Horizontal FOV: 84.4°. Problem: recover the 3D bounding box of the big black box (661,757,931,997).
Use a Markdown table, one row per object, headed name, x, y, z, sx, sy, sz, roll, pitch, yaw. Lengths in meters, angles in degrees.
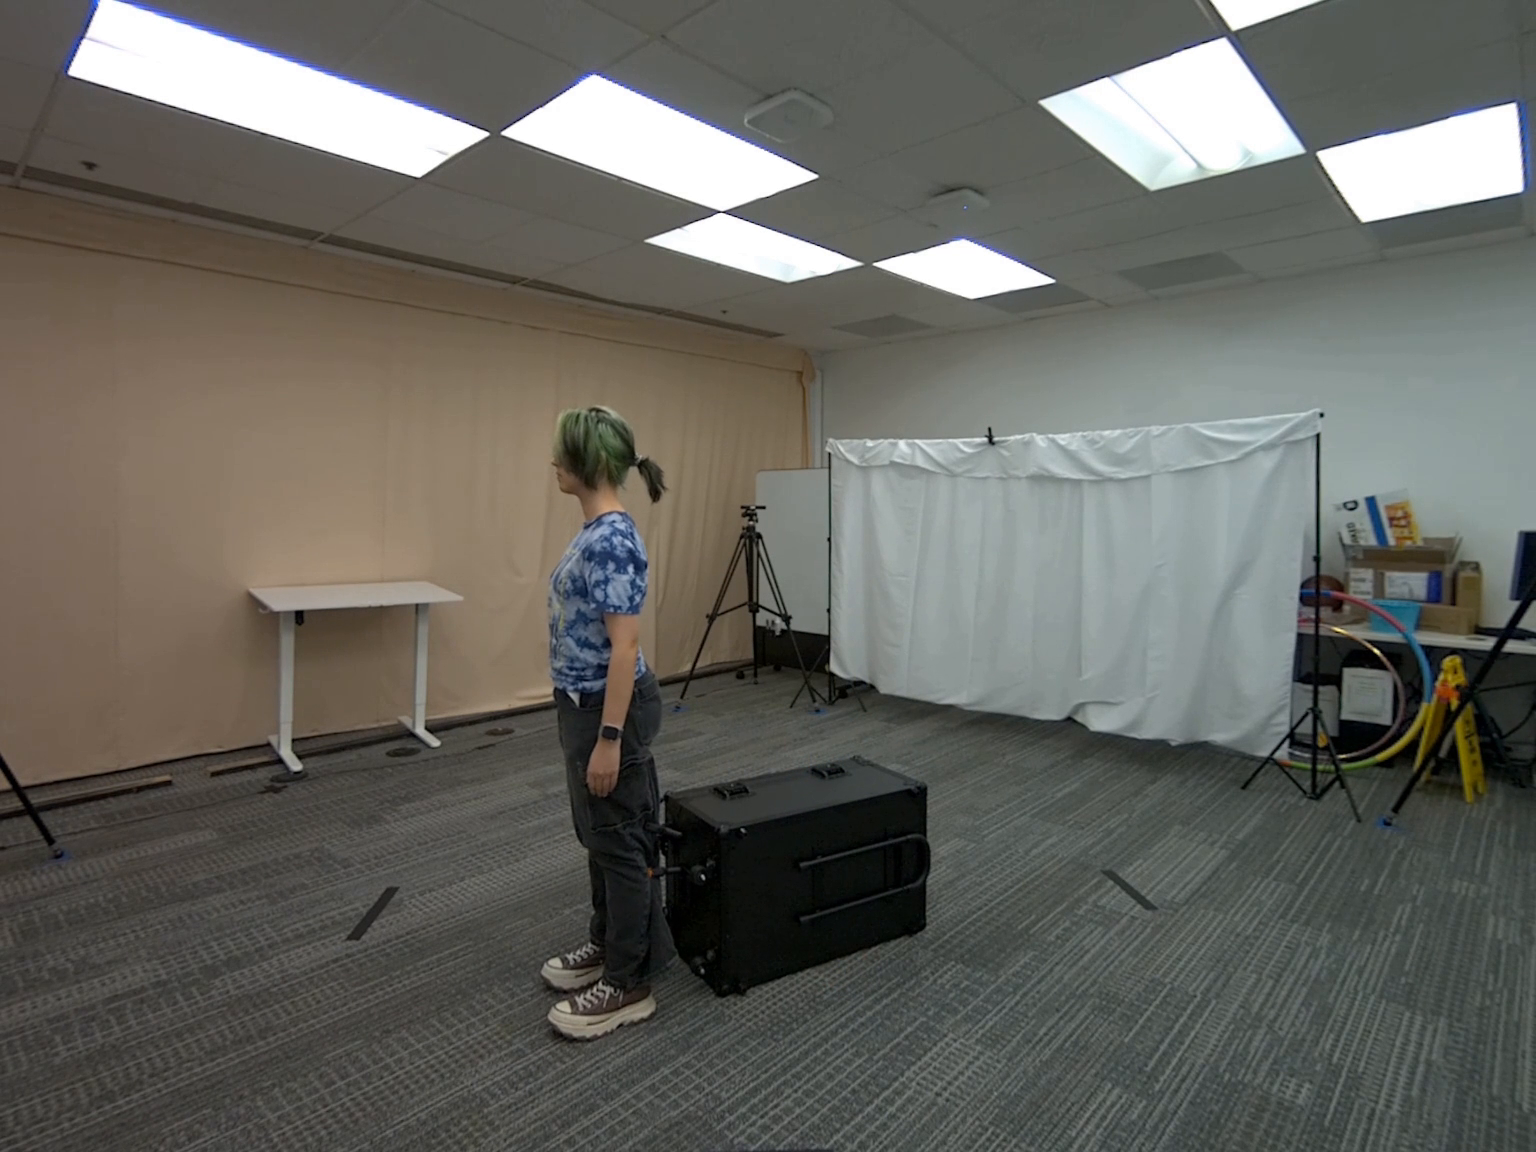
| name | x | y | z | sx | sy | sz | roll | pitch | yaw |
| --- | --- | --- | --- | --- | --- | --- | --- | --- | --- |
| big black box | 0.081 | 0.925 | 2.686 | 0.839 | 0.520 | 0.408 | -3 | 4 | -30 |
